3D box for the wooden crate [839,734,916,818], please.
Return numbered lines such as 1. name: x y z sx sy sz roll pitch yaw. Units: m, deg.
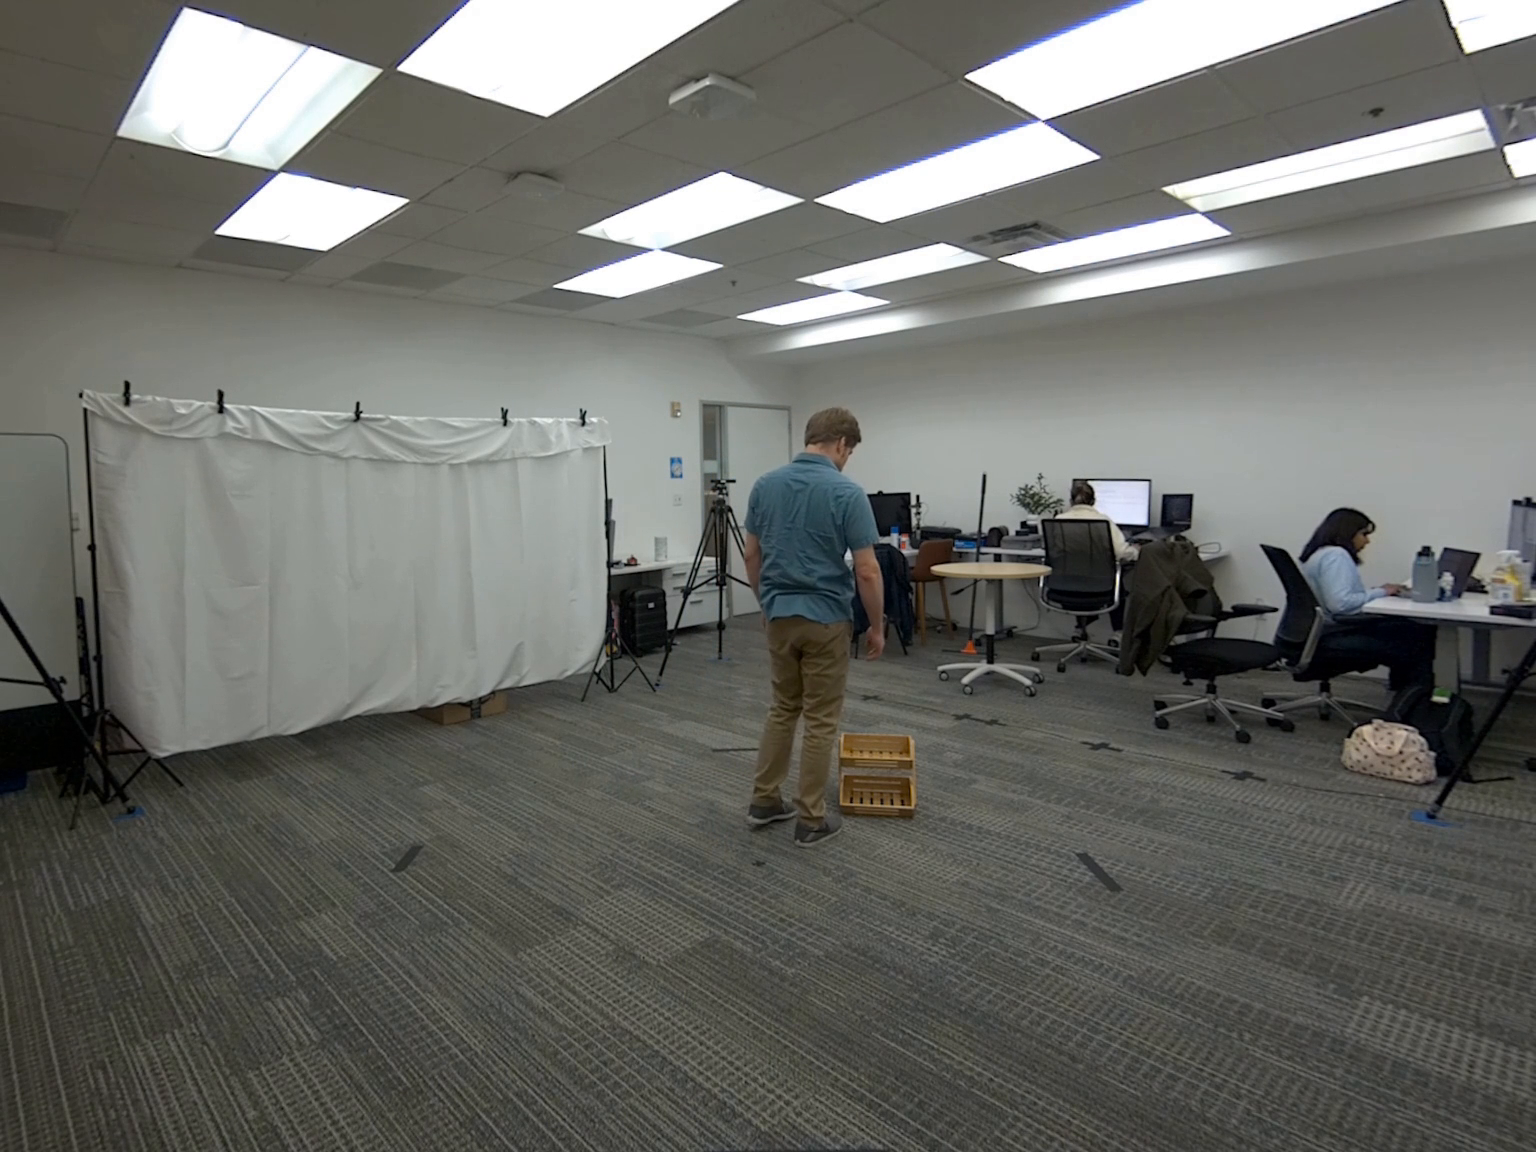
1. wooden crate: 0.466 0.841 3.648 0.327 0.272 0.300 0 4 8
